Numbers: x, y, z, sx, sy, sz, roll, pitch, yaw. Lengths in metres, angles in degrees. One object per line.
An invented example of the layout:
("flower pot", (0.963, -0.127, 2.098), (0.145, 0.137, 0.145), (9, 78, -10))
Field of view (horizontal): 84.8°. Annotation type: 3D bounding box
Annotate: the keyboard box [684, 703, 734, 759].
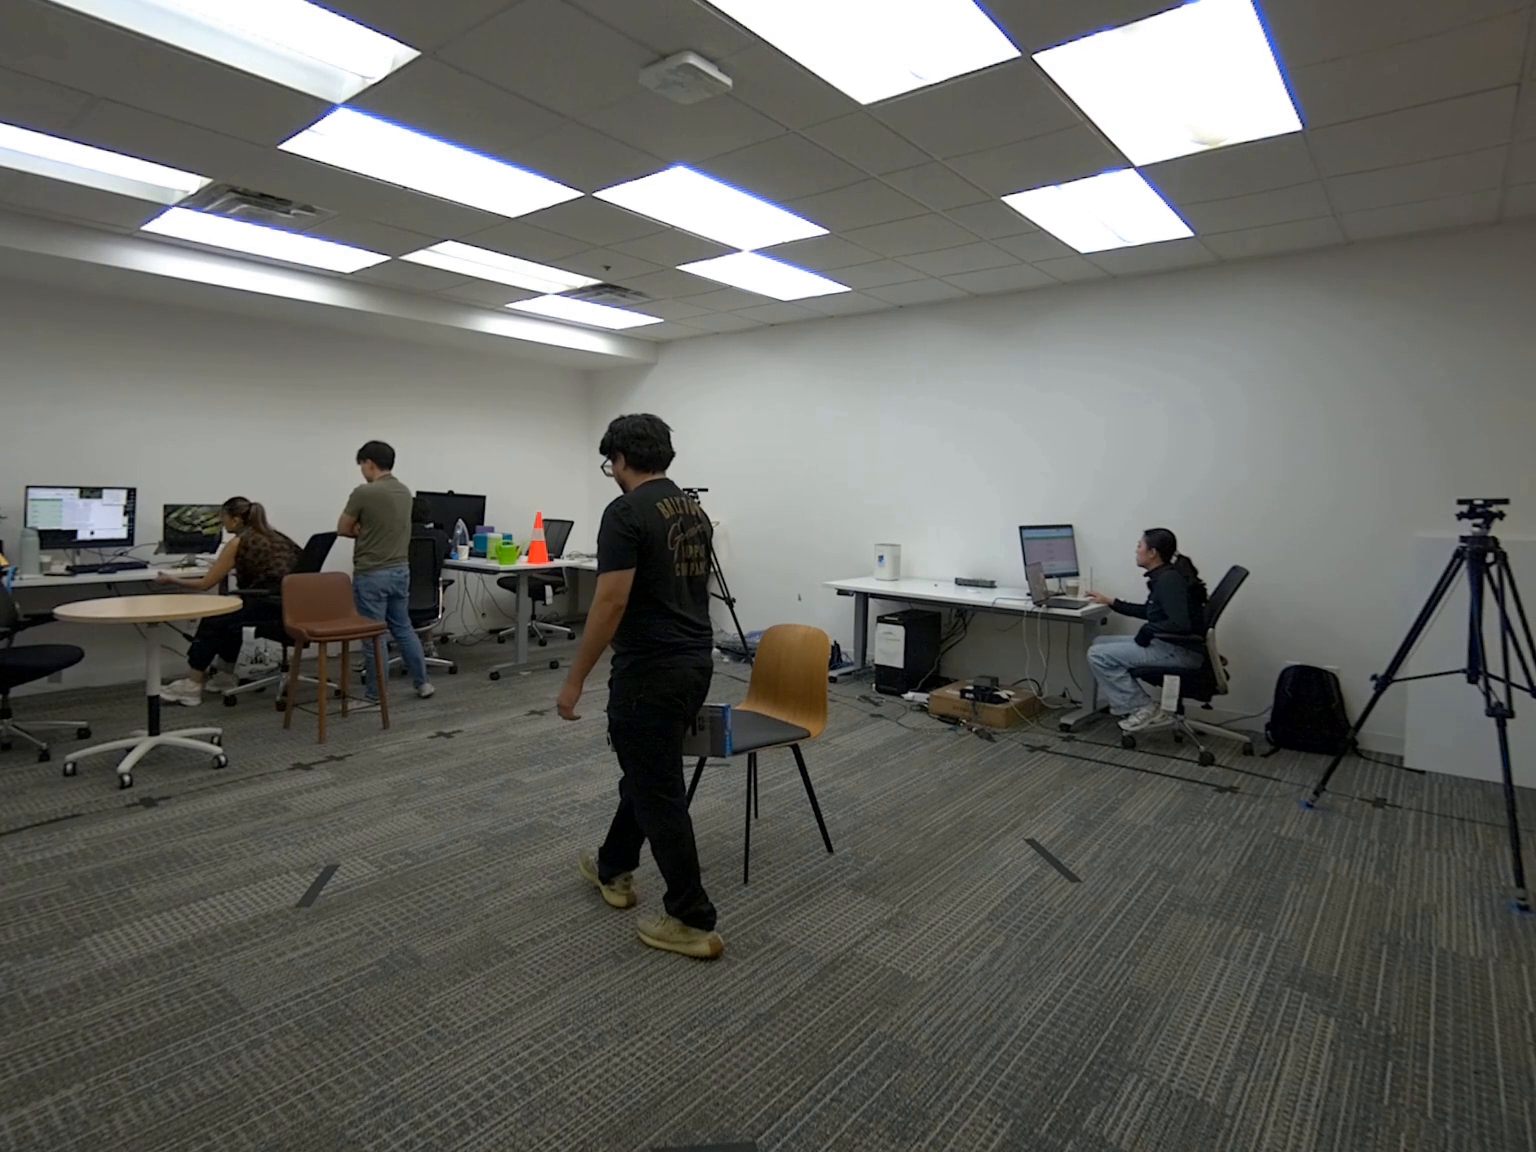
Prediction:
("keyboard box", (-0.344, 0.519, 2.916), (0.446, 0.176, 0.057), (-2, -4, 22))
